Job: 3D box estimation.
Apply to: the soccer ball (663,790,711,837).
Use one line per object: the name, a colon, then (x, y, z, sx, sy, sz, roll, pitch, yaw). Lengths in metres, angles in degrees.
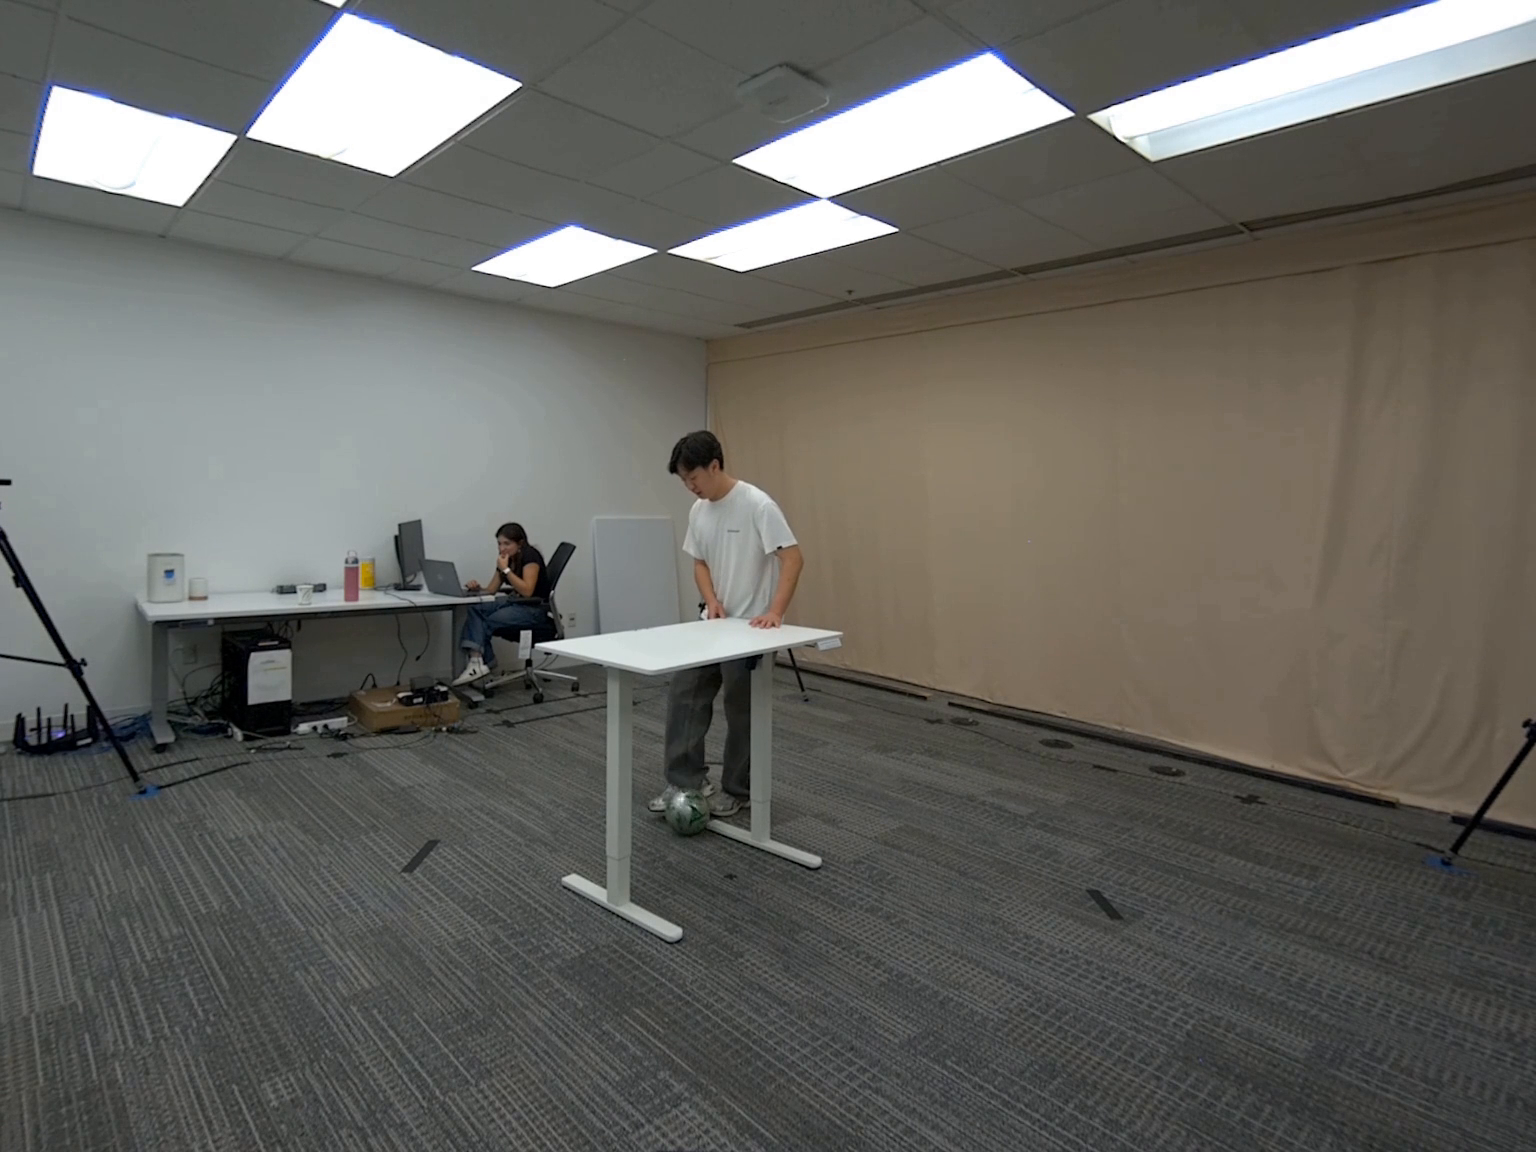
soccer ball: (-0.351, 0.977, 3.490, 0.187, 0.187, 0.188, 1, 4, -1)
